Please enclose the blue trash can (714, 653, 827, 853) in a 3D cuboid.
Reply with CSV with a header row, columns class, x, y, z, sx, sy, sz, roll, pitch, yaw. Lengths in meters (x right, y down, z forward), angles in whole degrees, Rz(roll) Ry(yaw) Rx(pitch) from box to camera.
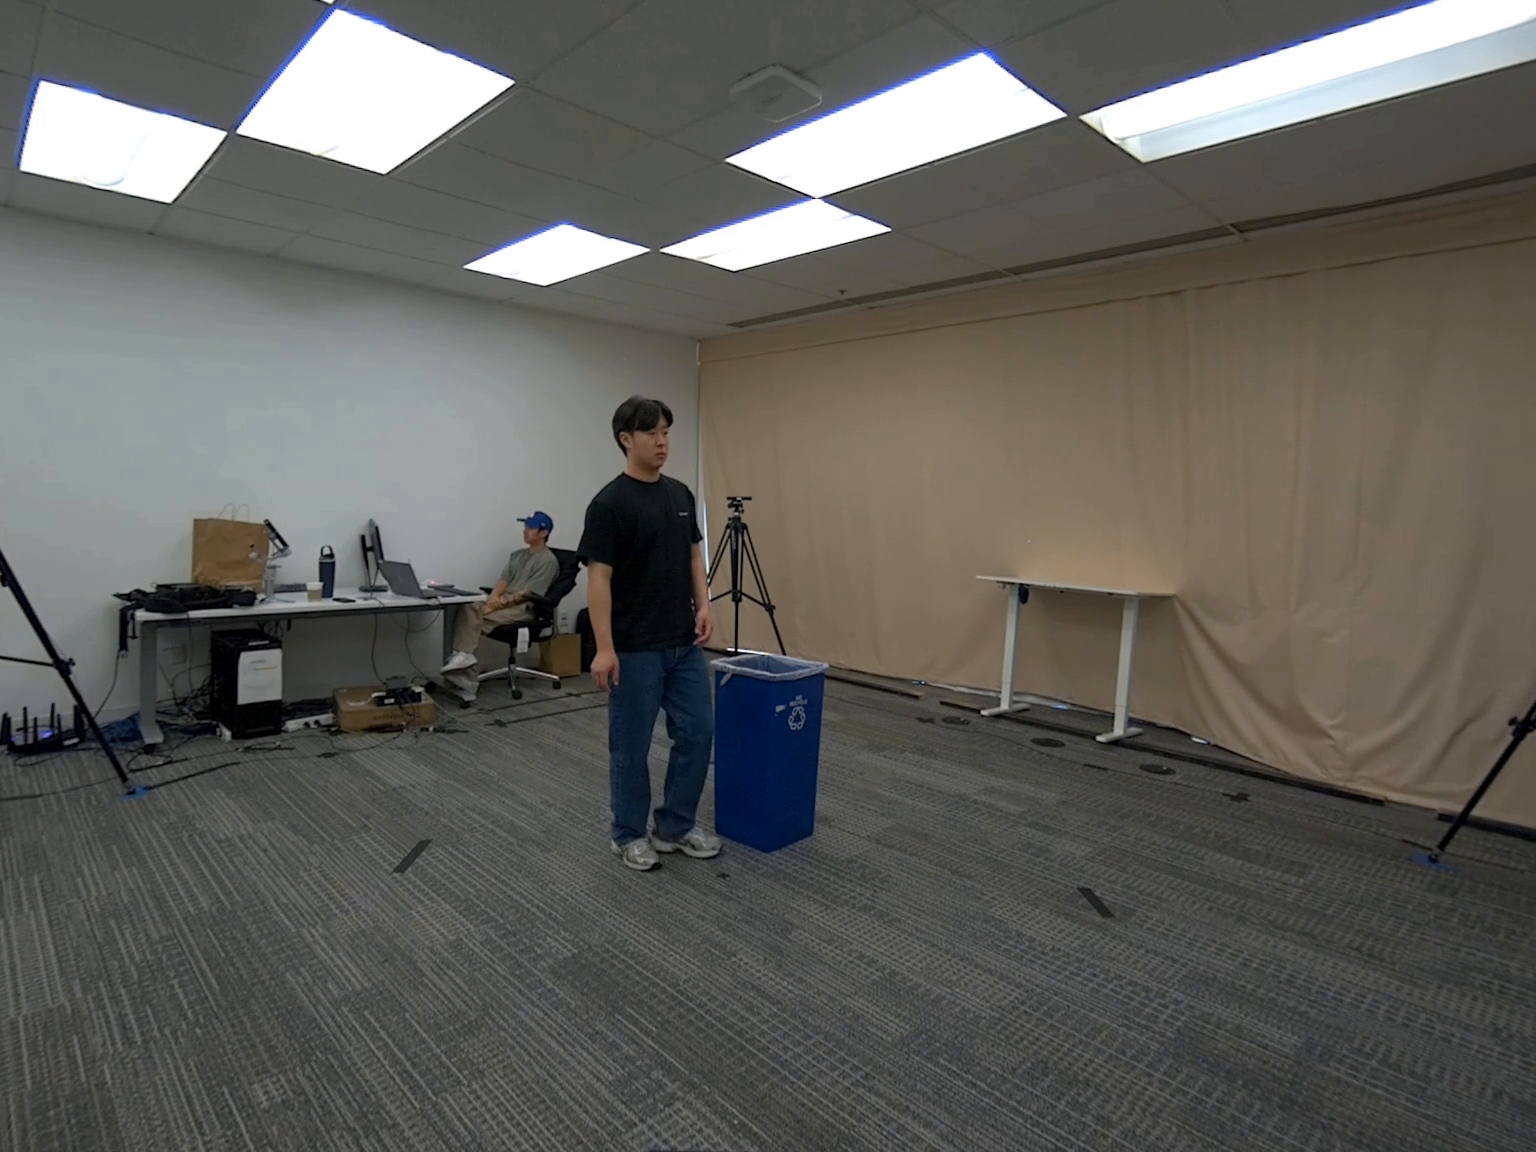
class,x,y,z,sx,sy,sz,roll,pitch,yaw
blue trash can,-0.009,0.717,3.506,0.388,0.712,0.365,5,5,42
